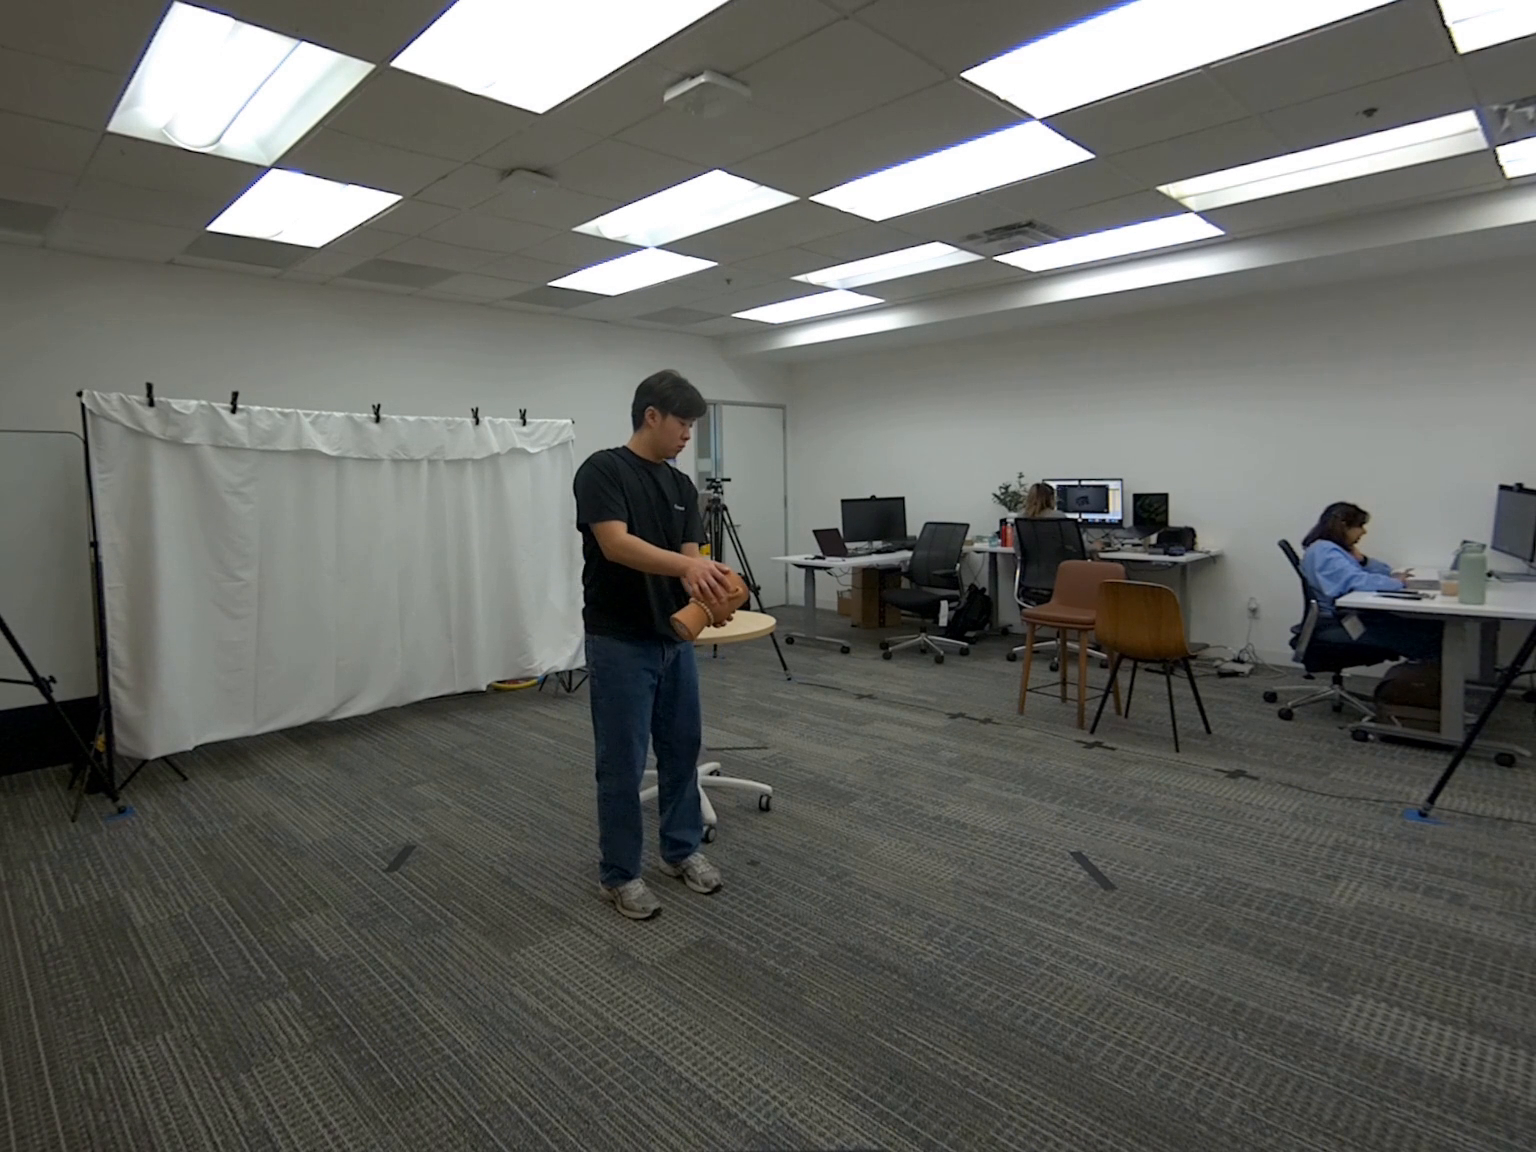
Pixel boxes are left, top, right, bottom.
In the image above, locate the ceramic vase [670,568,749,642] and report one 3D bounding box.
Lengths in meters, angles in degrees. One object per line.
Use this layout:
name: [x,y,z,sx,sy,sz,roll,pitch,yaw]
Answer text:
ceramic vase: [-0.184,0.090,2.507,0.219,0.137,0.156,-43,-16,-26]
